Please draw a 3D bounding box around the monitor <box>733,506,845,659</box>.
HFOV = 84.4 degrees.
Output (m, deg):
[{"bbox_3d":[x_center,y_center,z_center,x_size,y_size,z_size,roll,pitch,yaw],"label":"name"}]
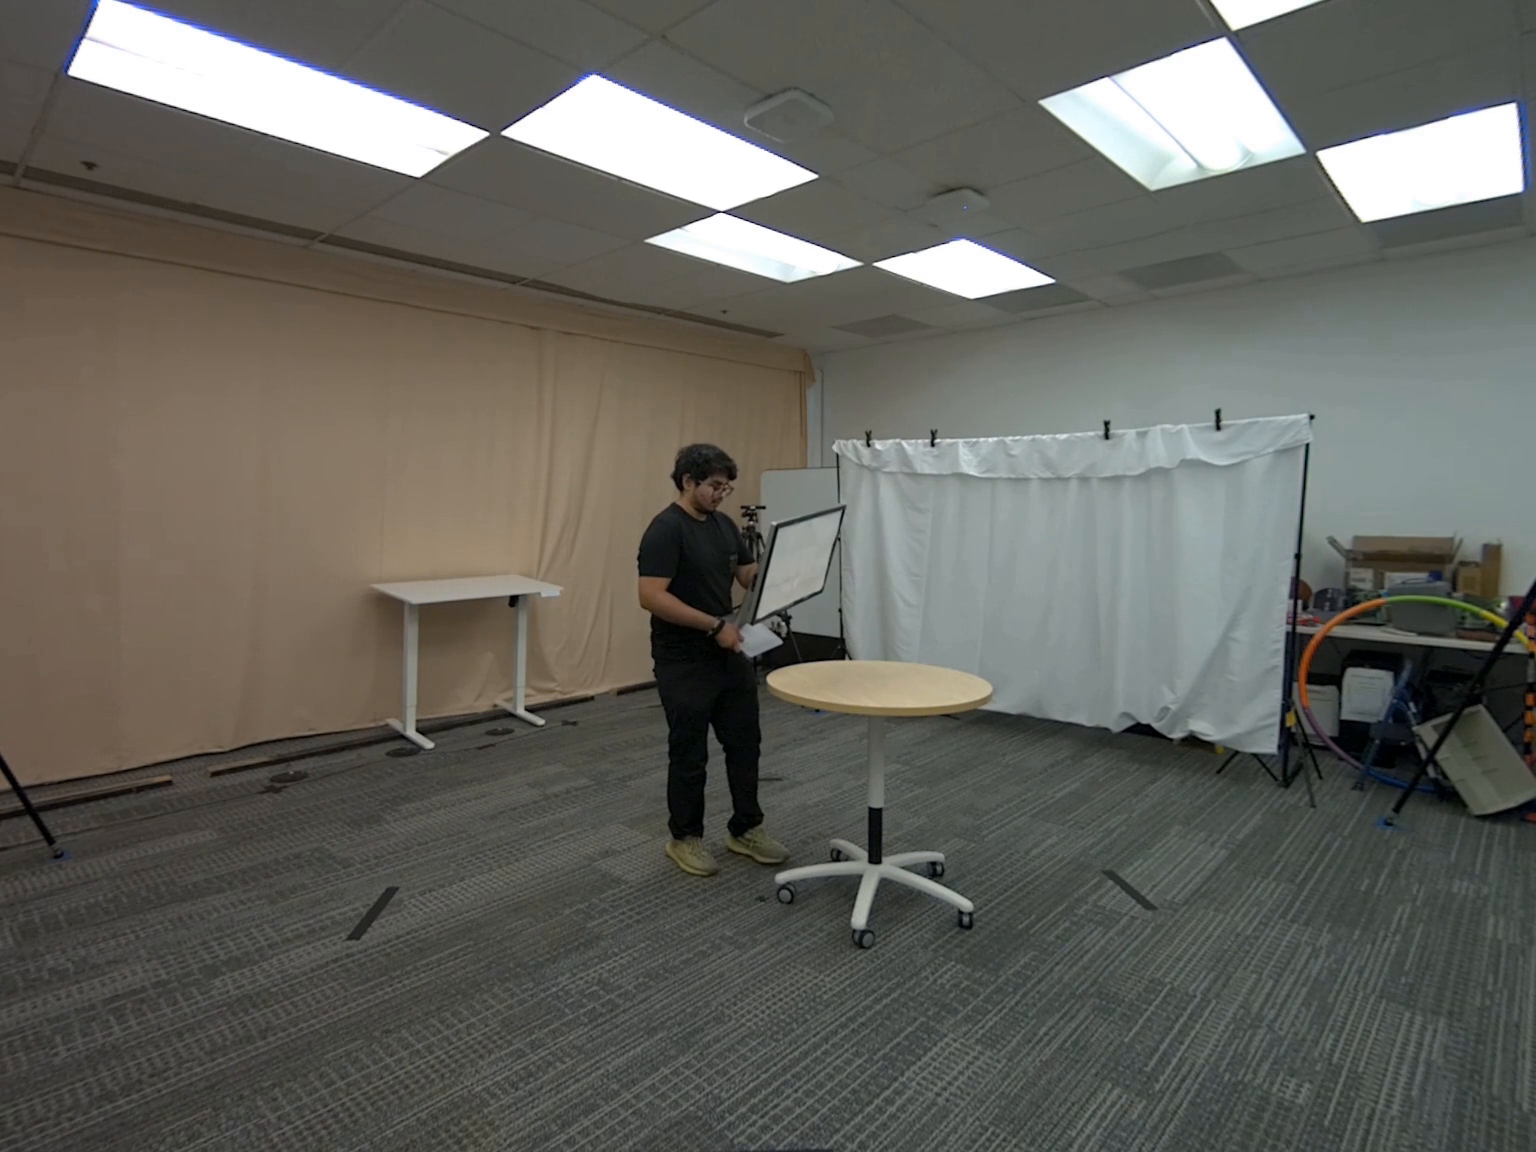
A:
[{"bbox_3d":[0.028,-0.006,3.041,0.216,0.551,0.552,30,24,22],"label":"monitor"}]
